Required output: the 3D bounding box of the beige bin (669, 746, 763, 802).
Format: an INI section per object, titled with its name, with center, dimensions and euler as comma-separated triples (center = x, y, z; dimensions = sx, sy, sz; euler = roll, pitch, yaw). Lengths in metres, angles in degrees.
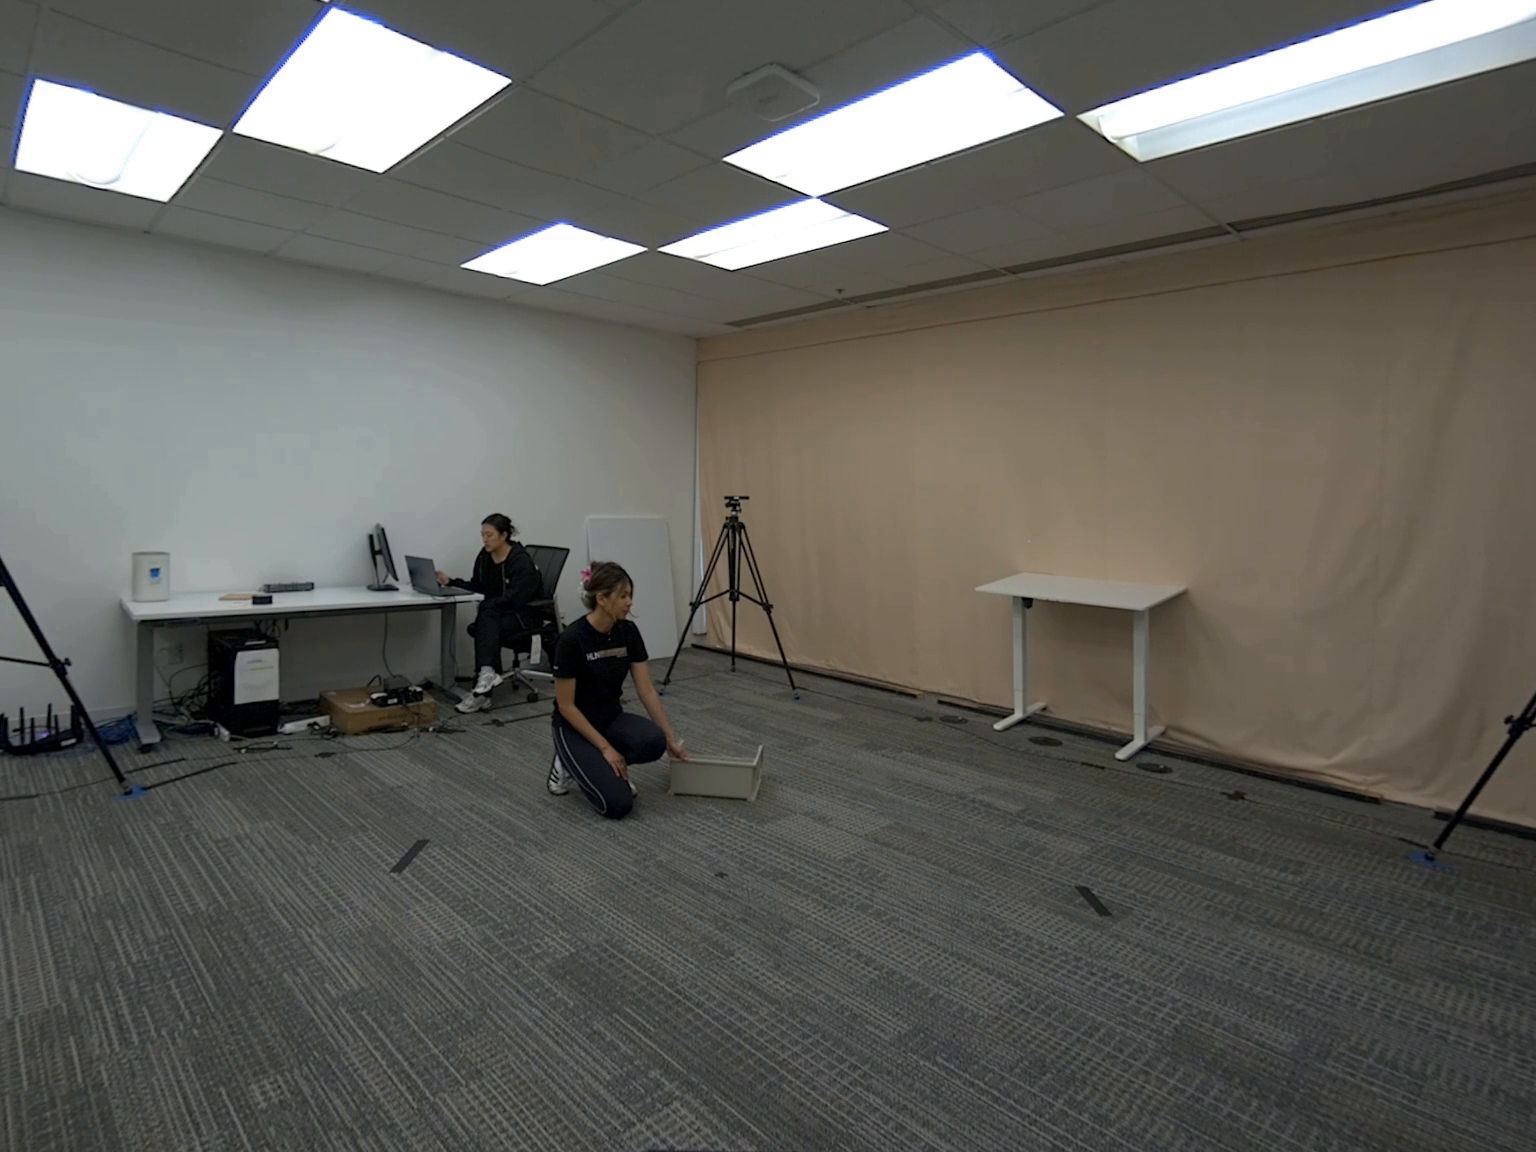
[beige bin]
center = -0.259, 0.927, 4.085
dimensions = 0.425, 0.188, 0.376
euler = 2, 6, 6
